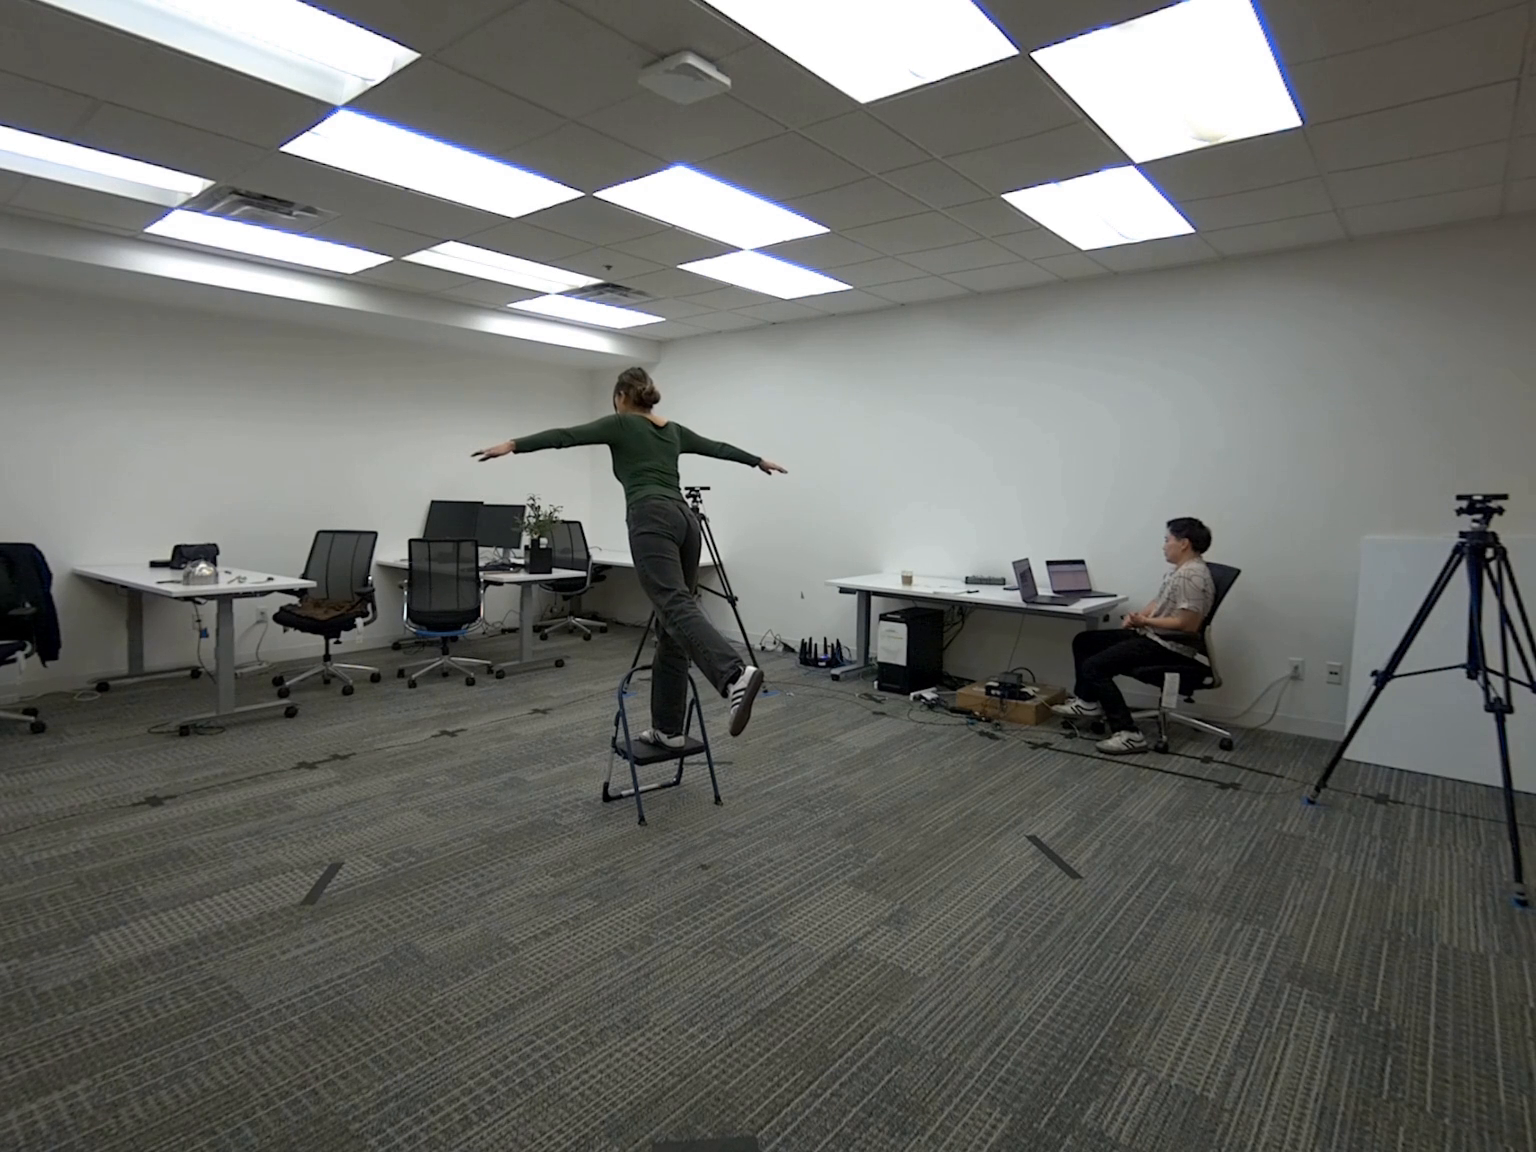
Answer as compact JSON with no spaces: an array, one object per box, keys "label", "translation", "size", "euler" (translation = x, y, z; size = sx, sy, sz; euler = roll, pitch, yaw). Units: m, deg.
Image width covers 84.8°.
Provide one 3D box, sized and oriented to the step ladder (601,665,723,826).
[{"label":"step ladder","translation":[-0.477,0.697,3.739],"size":[0.418,0.604,0.361],"euler":[-2,4,-40]}]
